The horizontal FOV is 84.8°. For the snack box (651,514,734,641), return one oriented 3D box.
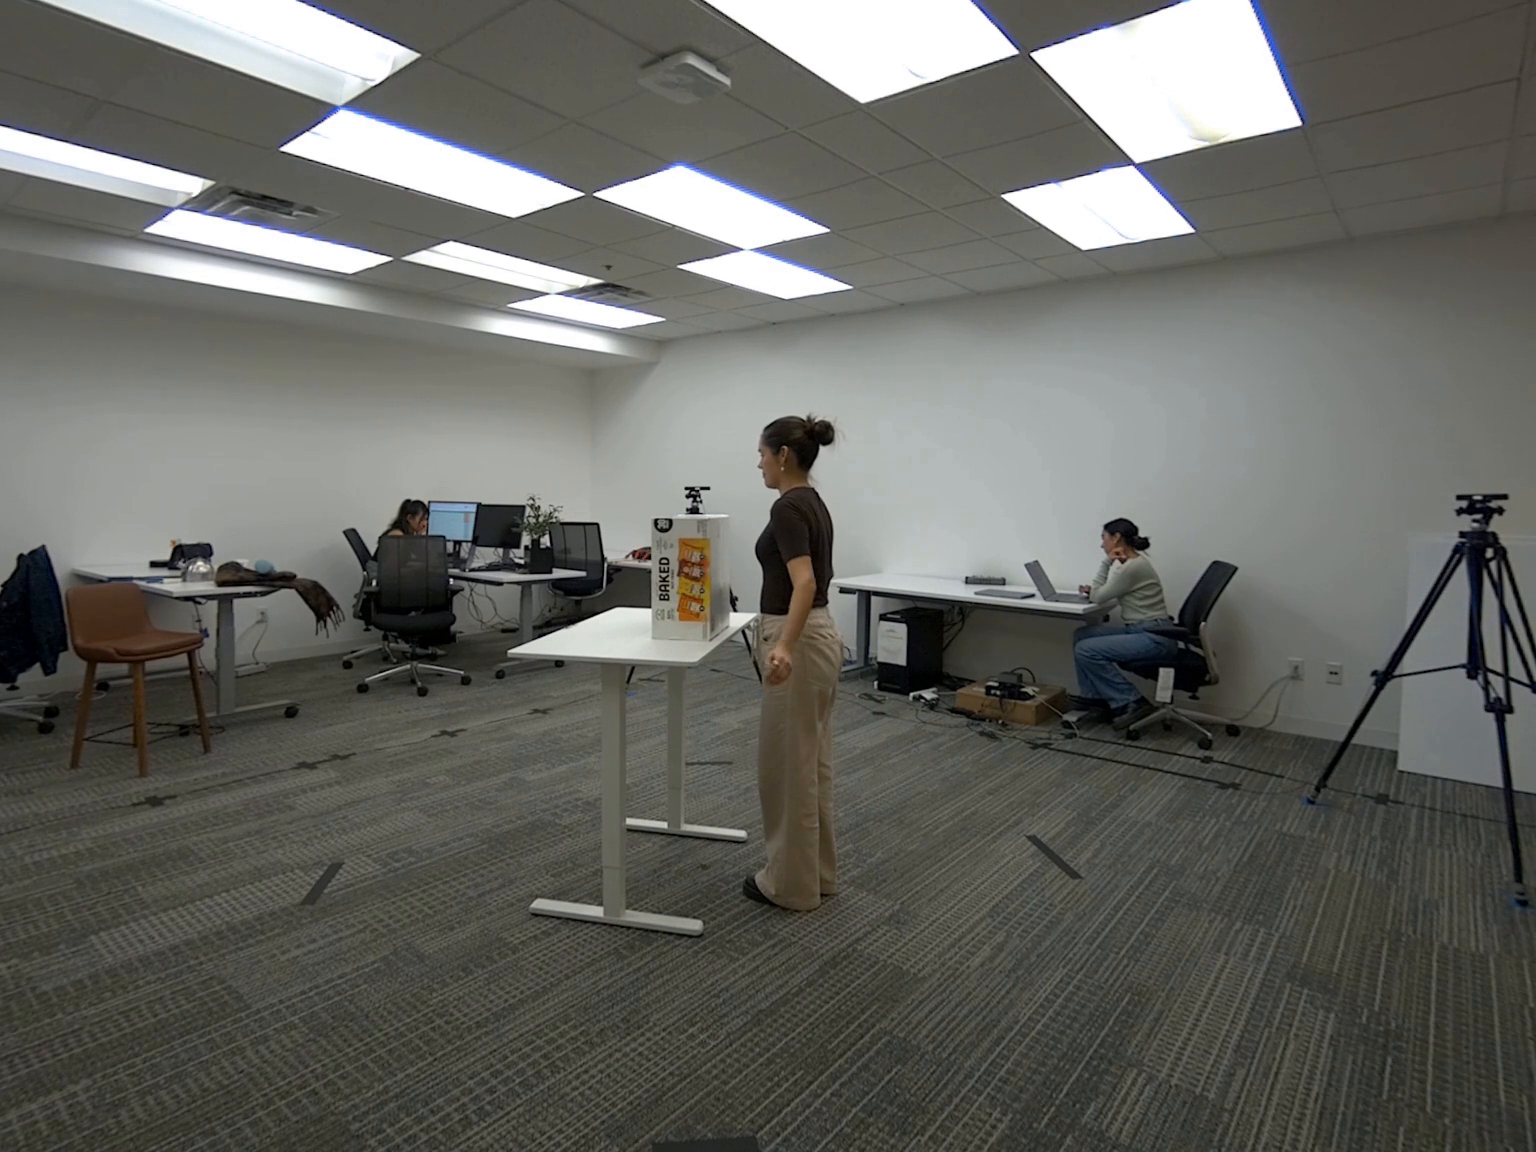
[{"bbox_3d":[-0.269,-0.009,2.978,0.208,0.404,0.338,0,4,9],"label":"snack box"}]
